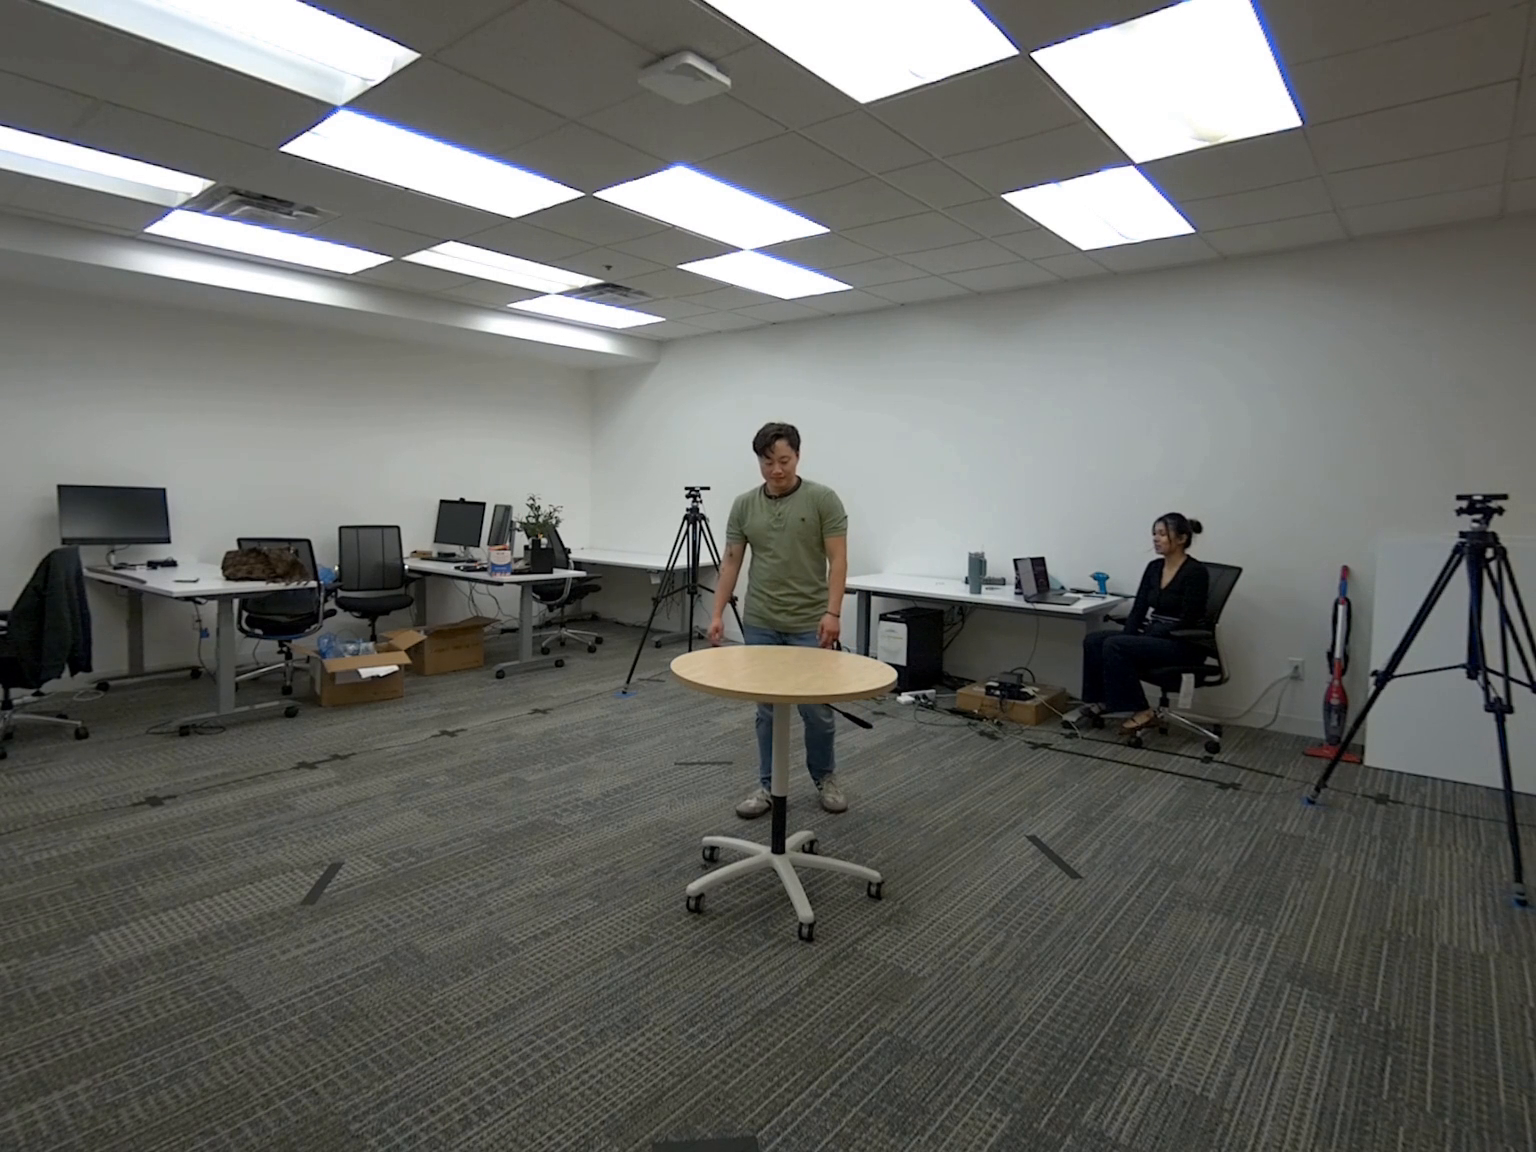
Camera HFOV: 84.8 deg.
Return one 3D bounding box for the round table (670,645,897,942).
[{"bbox_3d":[0.029,0.698,2.921,0.763,0.791,0.768,1,5,-2],"label":"round table"}]
